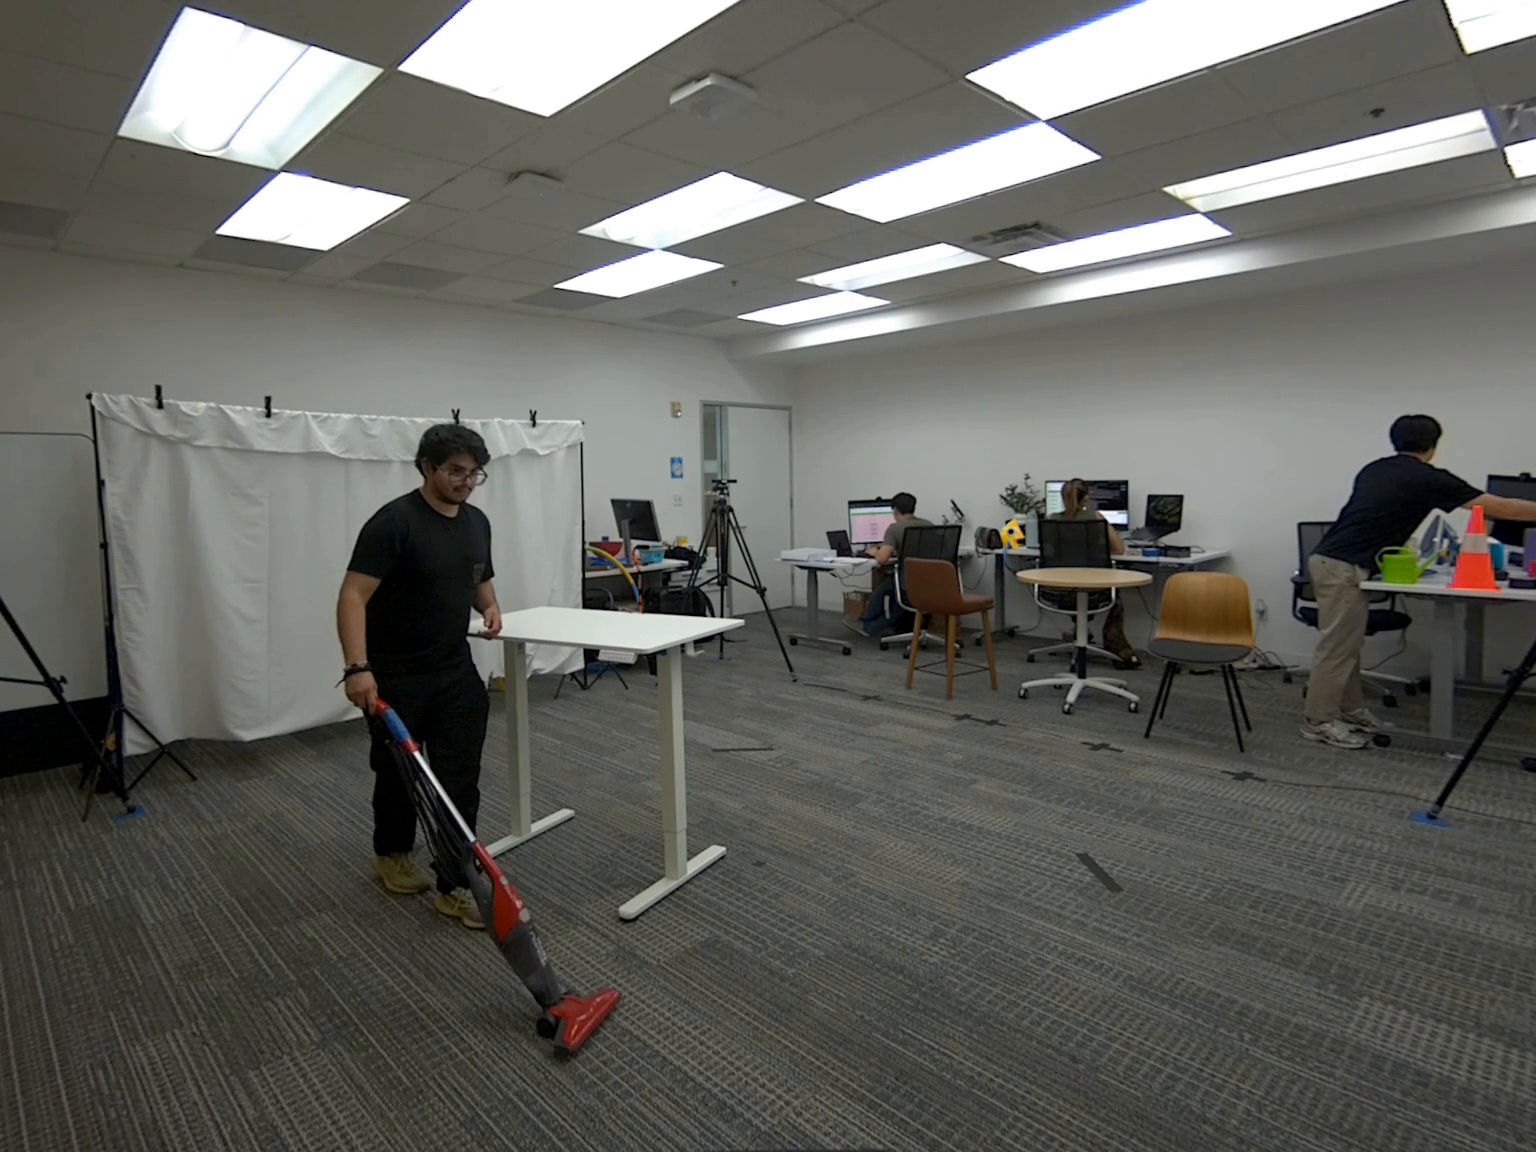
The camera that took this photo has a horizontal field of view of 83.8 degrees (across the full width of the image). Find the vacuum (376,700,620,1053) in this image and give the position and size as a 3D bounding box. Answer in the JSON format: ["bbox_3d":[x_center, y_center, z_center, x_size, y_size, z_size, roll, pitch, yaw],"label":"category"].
[{"bbox_3d":[-0.811,0.743,2.318,0.144,1.068,0.248,-42,-14,18],"label":"vacuum"}]
